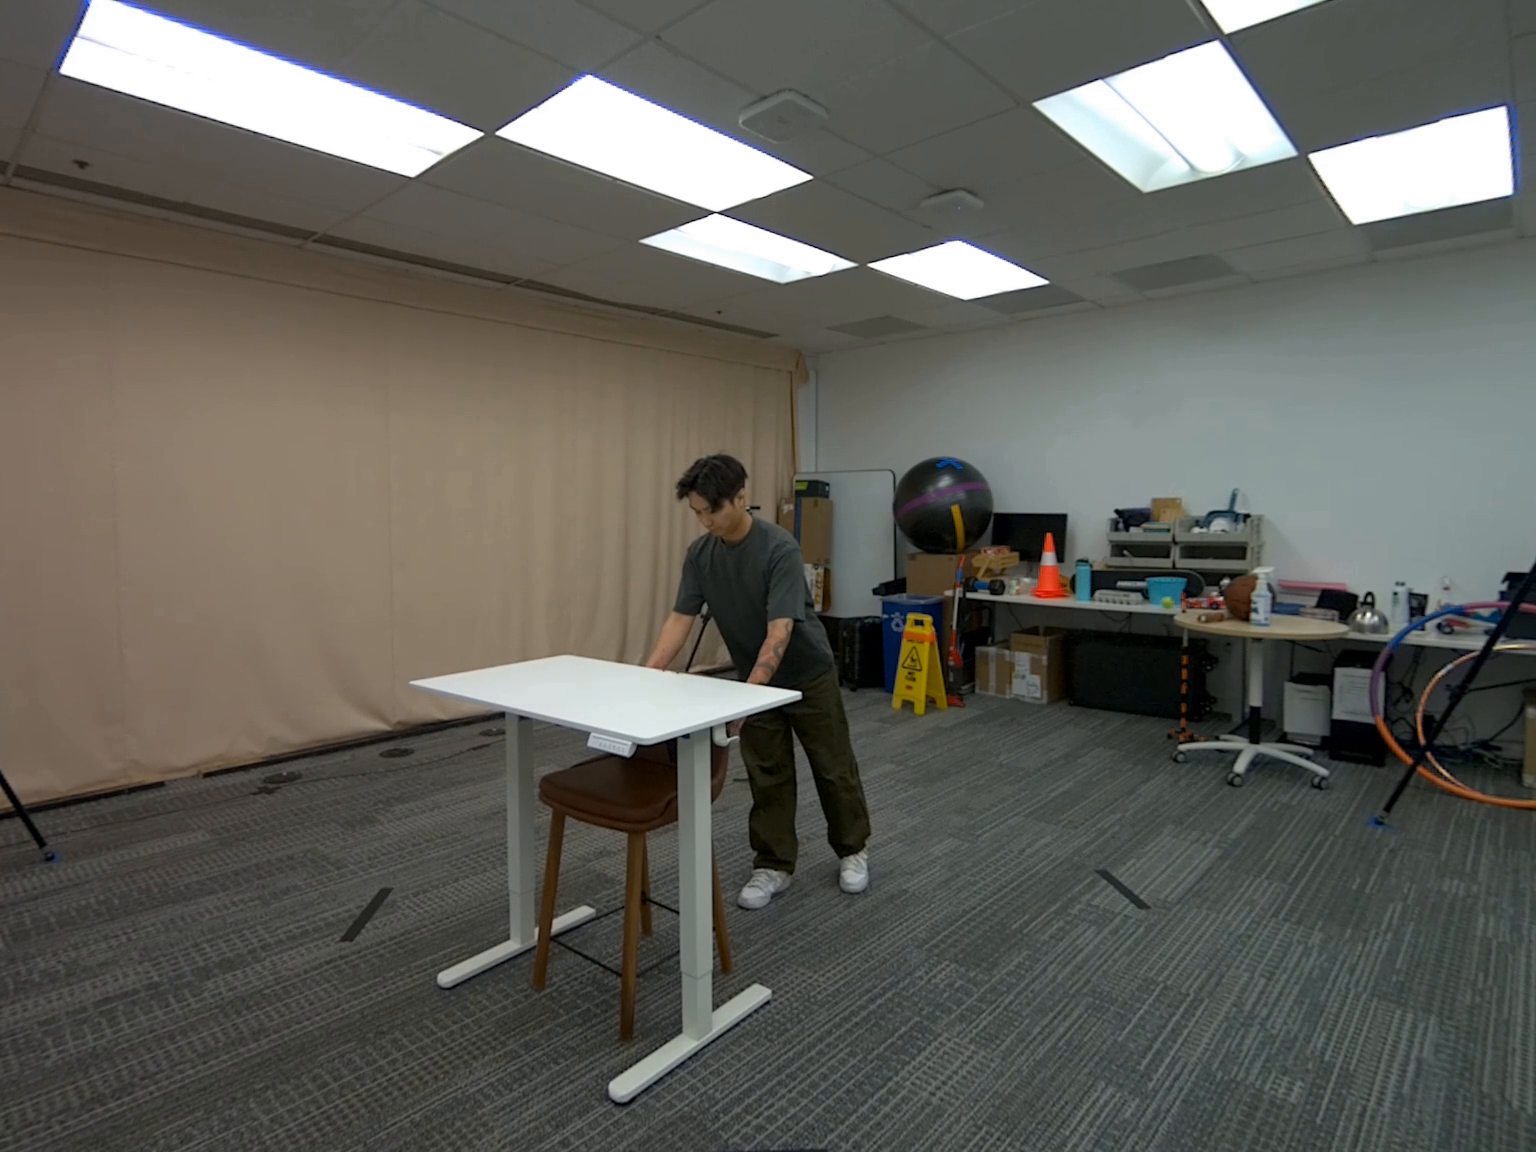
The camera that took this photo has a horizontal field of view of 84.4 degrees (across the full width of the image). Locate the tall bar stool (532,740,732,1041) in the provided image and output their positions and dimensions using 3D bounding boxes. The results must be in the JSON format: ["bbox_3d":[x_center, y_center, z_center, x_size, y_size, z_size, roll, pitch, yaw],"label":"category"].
[{"bbox_3d":[-0.383,0.756,2.460,0.471,0.889,0.453,3,1,40],"label":"tall bar stool"}]
